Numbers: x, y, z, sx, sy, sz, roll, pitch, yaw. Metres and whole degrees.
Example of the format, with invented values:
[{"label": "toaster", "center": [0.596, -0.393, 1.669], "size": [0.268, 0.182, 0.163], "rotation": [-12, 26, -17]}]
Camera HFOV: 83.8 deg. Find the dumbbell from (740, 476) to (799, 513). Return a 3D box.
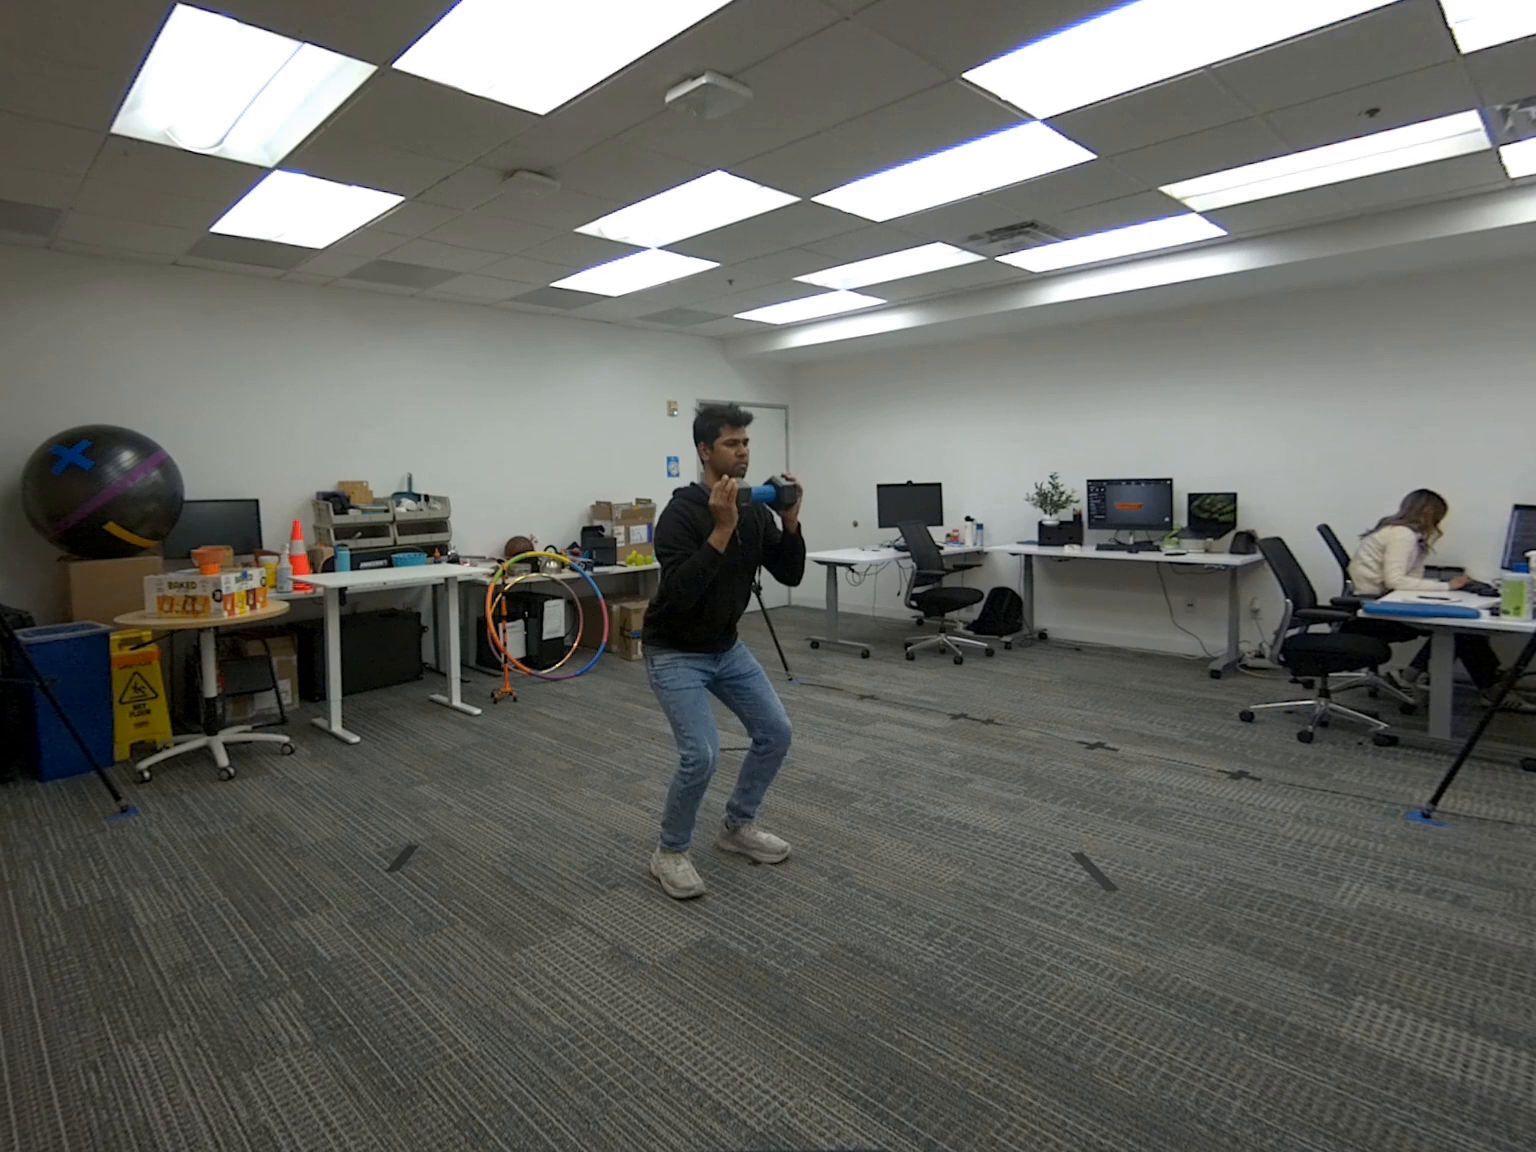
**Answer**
[{"label": "dumbbell", "center": [-0.044, -0.265, 2.866], "size": [0.286, 0.122, 0.112], "rotation": [-8, 9, -41]}]
